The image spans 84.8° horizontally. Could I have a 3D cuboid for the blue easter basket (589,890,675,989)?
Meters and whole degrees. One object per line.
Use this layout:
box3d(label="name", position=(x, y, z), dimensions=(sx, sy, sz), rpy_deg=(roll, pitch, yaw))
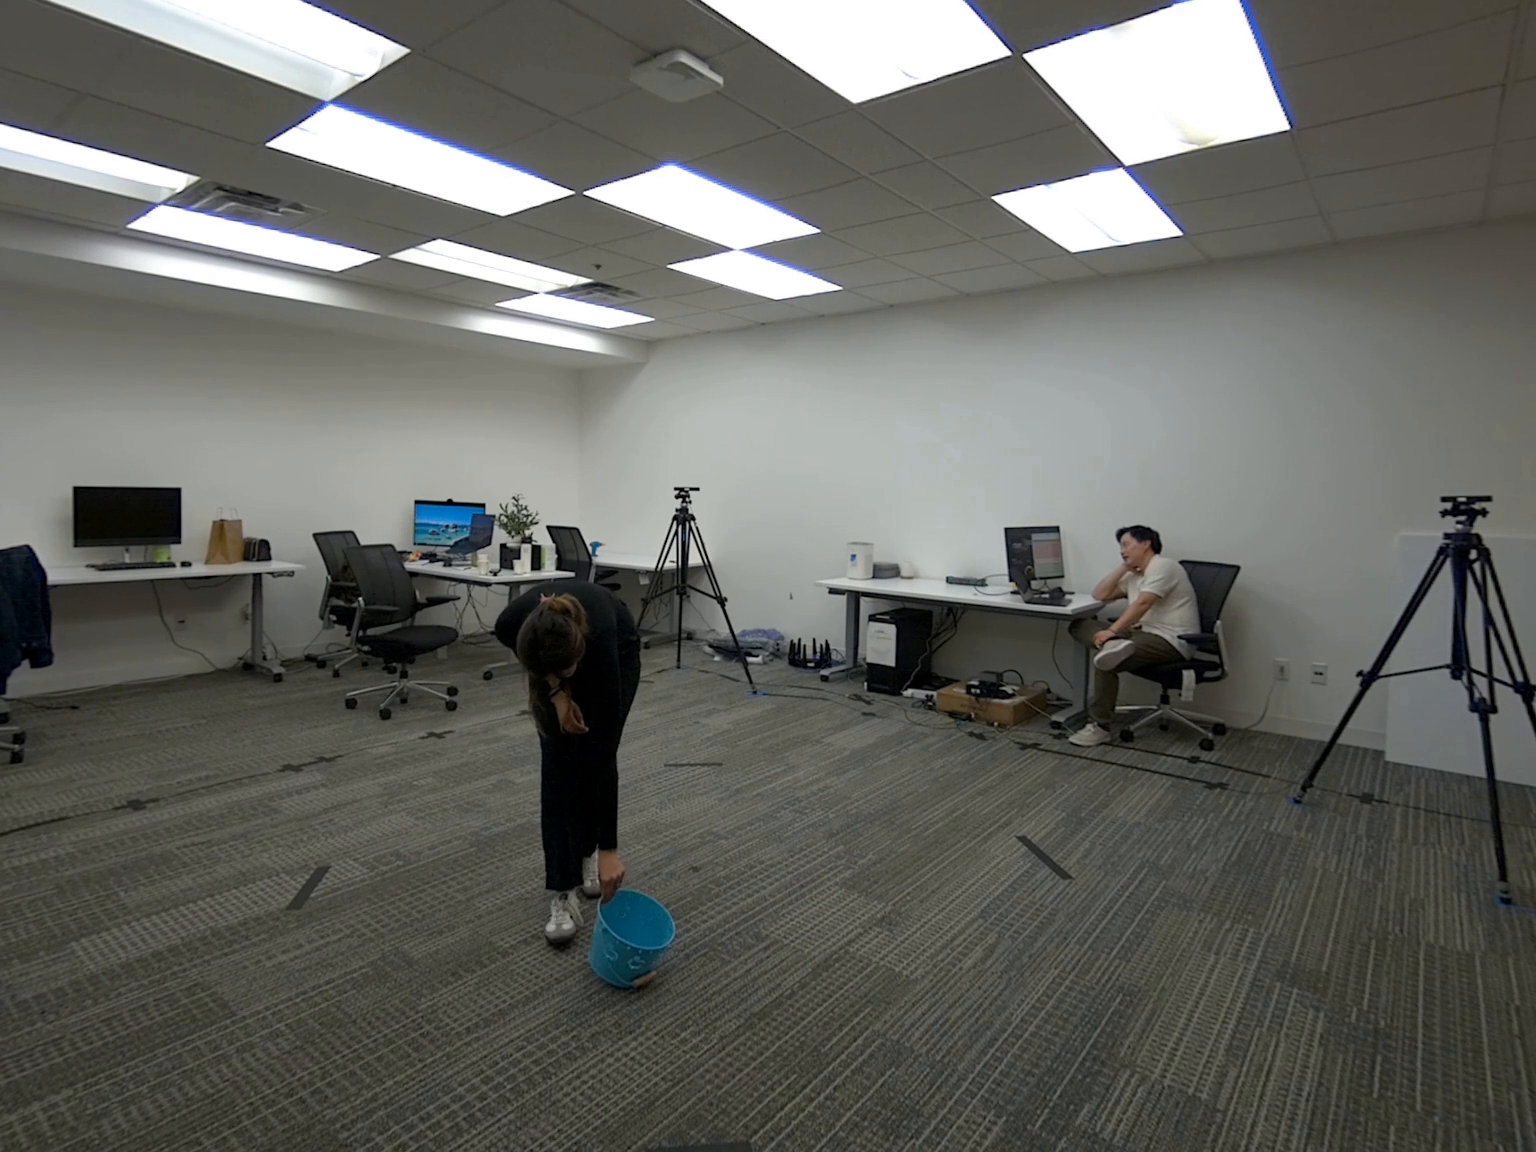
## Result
box3d(label="blue easter basket", position=(-0.401, 1.033, 2.398), dimensions=(0.242, 0.155, 0.246), rpy_deg=(18, 10, -5))
